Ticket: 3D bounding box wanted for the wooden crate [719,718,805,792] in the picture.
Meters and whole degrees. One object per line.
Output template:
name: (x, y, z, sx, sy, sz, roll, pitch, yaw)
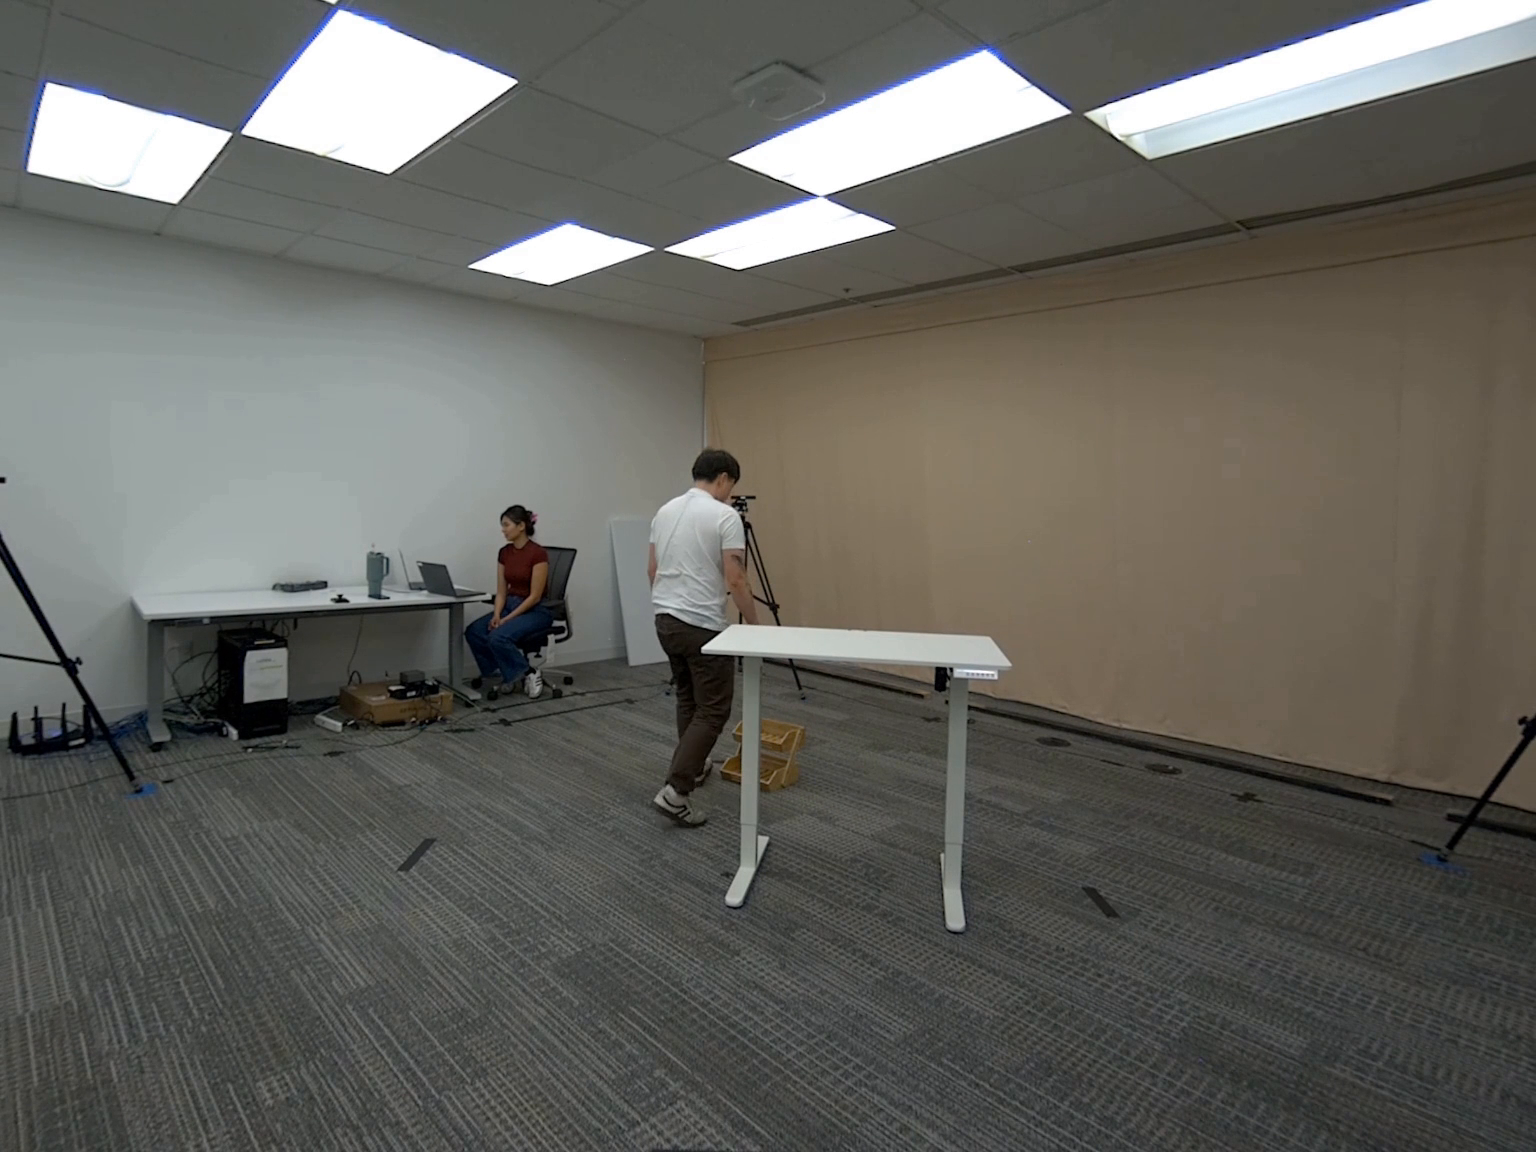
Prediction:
wooden crate: (-0.039, 0.874, 4.189, 0.332, 0.273, 0.295, 5, 4, 37)
